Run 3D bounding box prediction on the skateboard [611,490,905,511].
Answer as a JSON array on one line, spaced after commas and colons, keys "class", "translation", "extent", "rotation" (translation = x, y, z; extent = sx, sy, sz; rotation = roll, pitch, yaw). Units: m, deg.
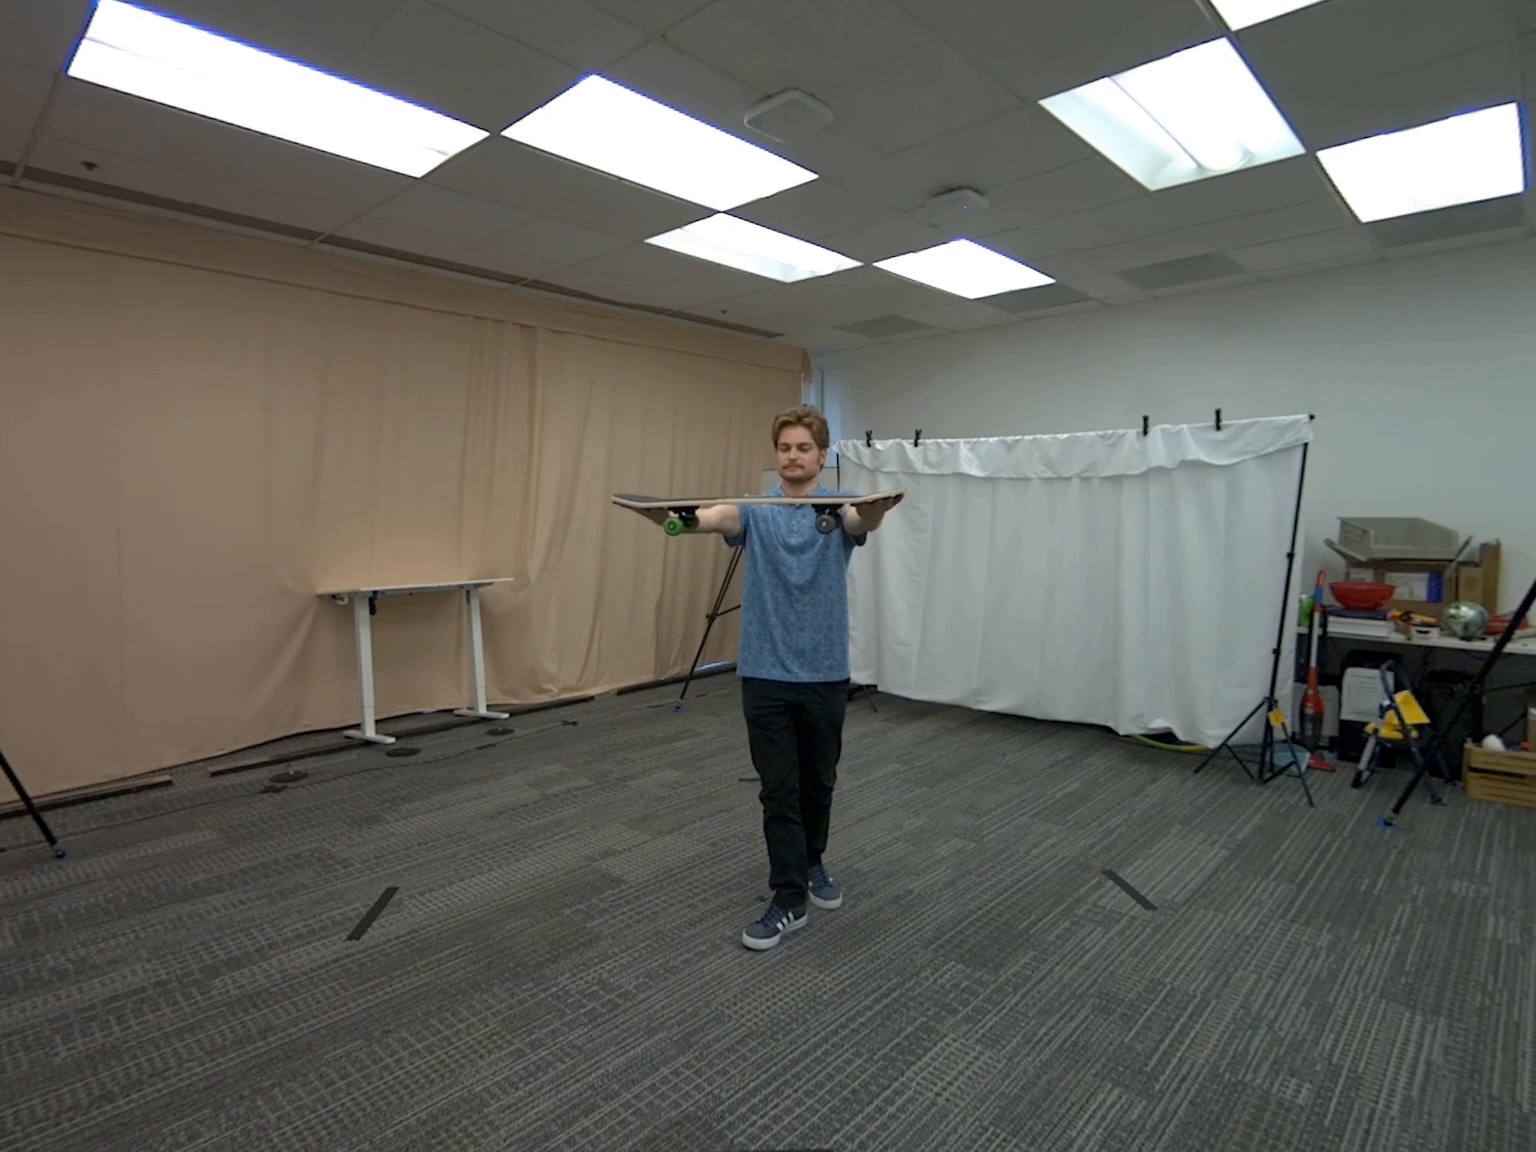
[{"class": "skateboard", "translation": [-0.032, -0.162, 2.223], "extent": [0.798, 0.110, 0.191], "rotation": [0, 6, 15]}]
